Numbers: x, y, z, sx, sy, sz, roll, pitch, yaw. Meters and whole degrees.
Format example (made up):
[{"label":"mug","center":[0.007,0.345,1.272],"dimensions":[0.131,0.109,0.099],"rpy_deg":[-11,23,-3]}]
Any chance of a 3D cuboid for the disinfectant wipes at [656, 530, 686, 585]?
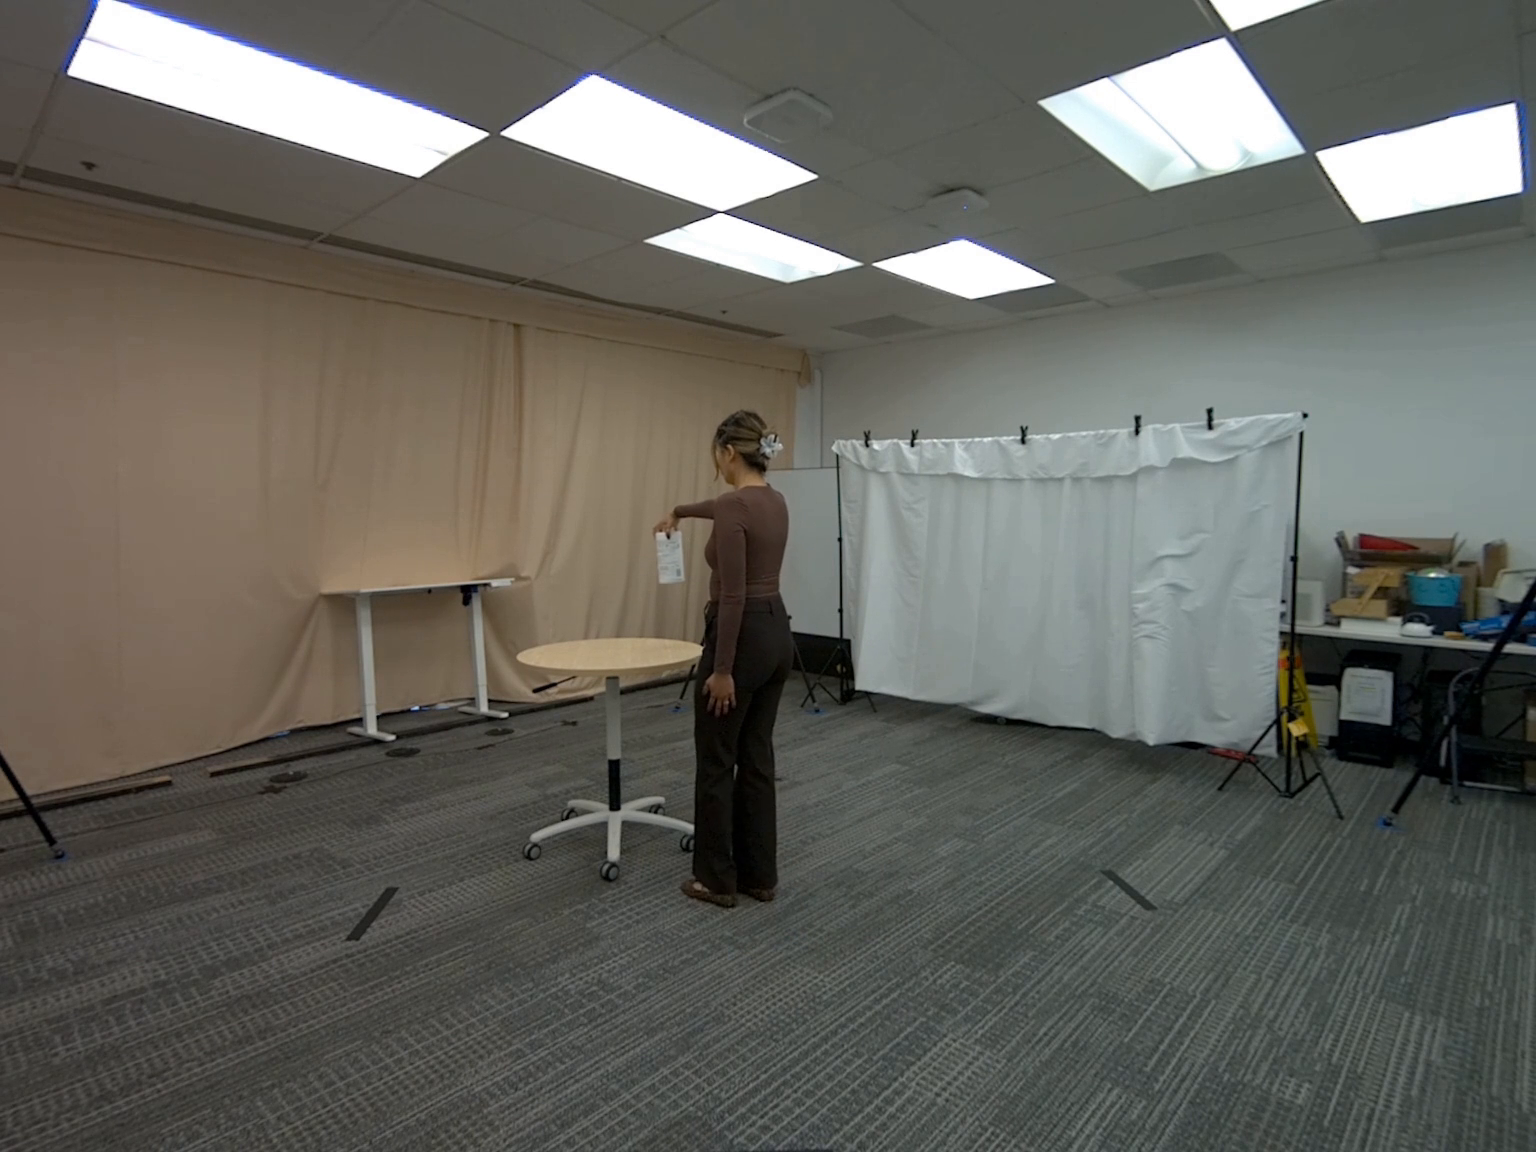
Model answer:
[{"label":"disinfectant wipes","center":[-0.410,-0.080,3.533],"dimensions":[0.118,0.217,0.118],"rpy_deg":[-2,4,-2]}]
